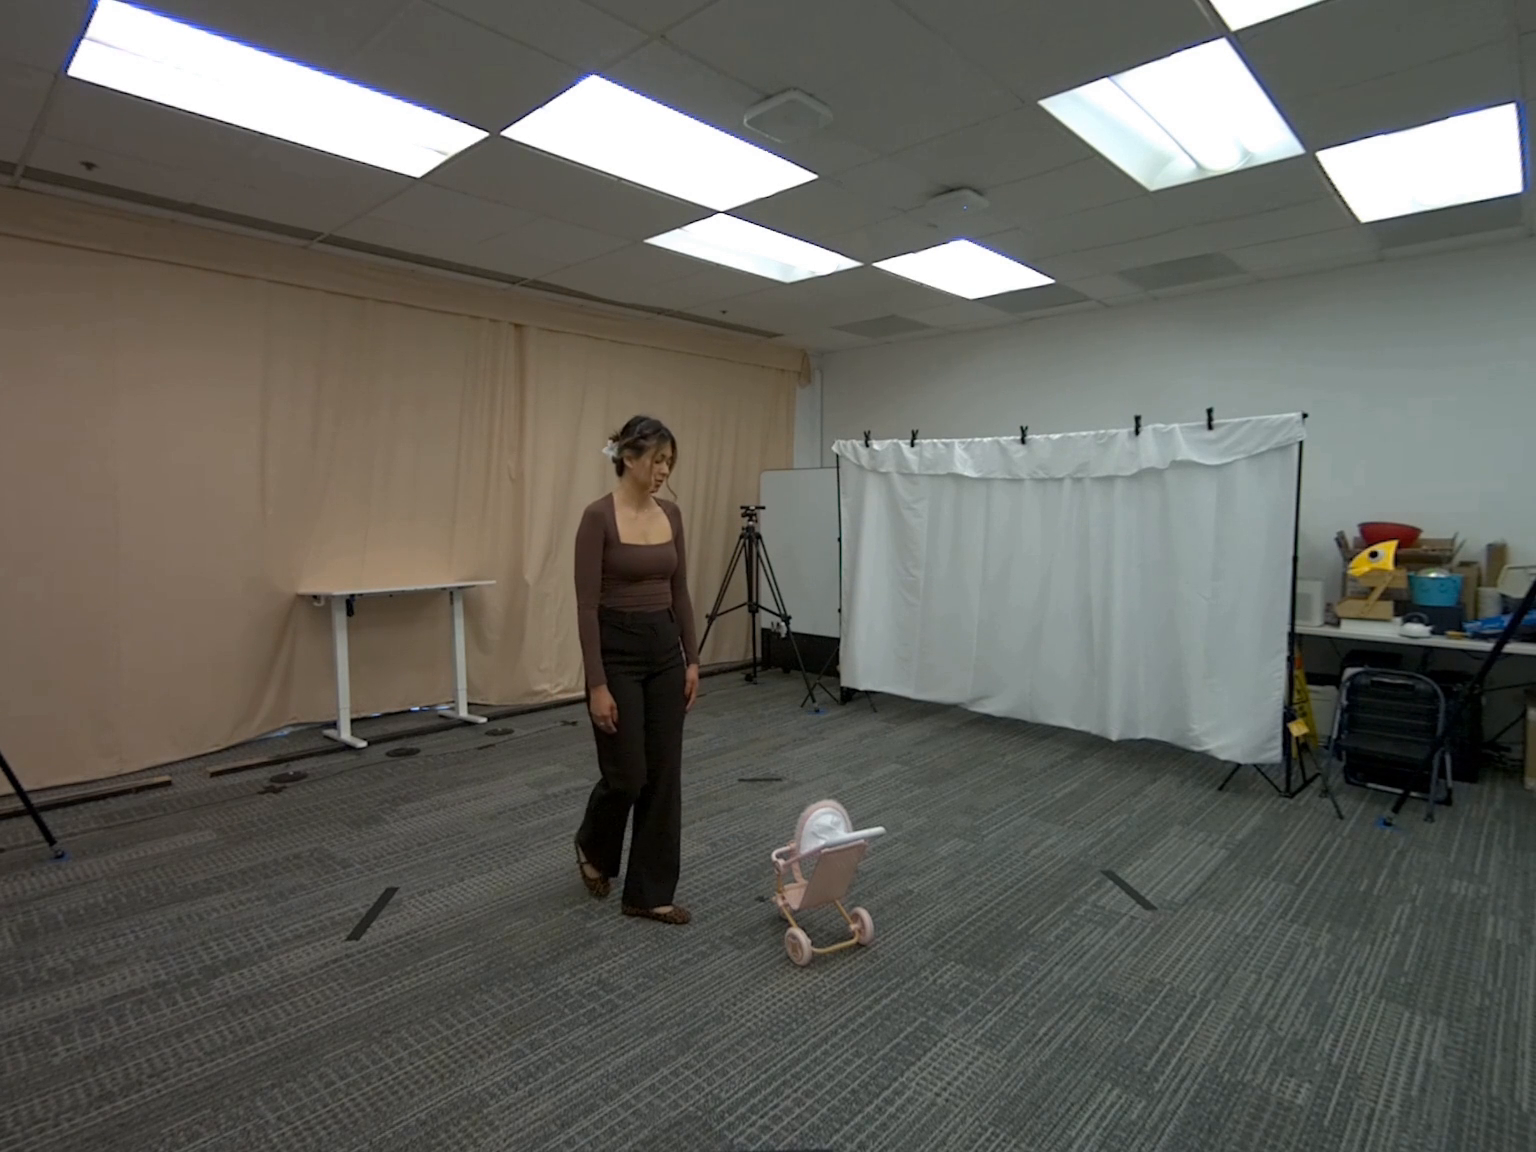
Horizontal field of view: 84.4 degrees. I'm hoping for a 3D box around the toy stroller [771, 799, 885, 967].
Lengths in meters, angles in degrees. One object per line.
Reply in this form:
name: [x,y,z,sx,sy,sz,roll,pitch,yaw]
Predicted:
toy stroller: [0.165,0.942,2.664,0.274,0.531,0.353,-2,19,-28]
